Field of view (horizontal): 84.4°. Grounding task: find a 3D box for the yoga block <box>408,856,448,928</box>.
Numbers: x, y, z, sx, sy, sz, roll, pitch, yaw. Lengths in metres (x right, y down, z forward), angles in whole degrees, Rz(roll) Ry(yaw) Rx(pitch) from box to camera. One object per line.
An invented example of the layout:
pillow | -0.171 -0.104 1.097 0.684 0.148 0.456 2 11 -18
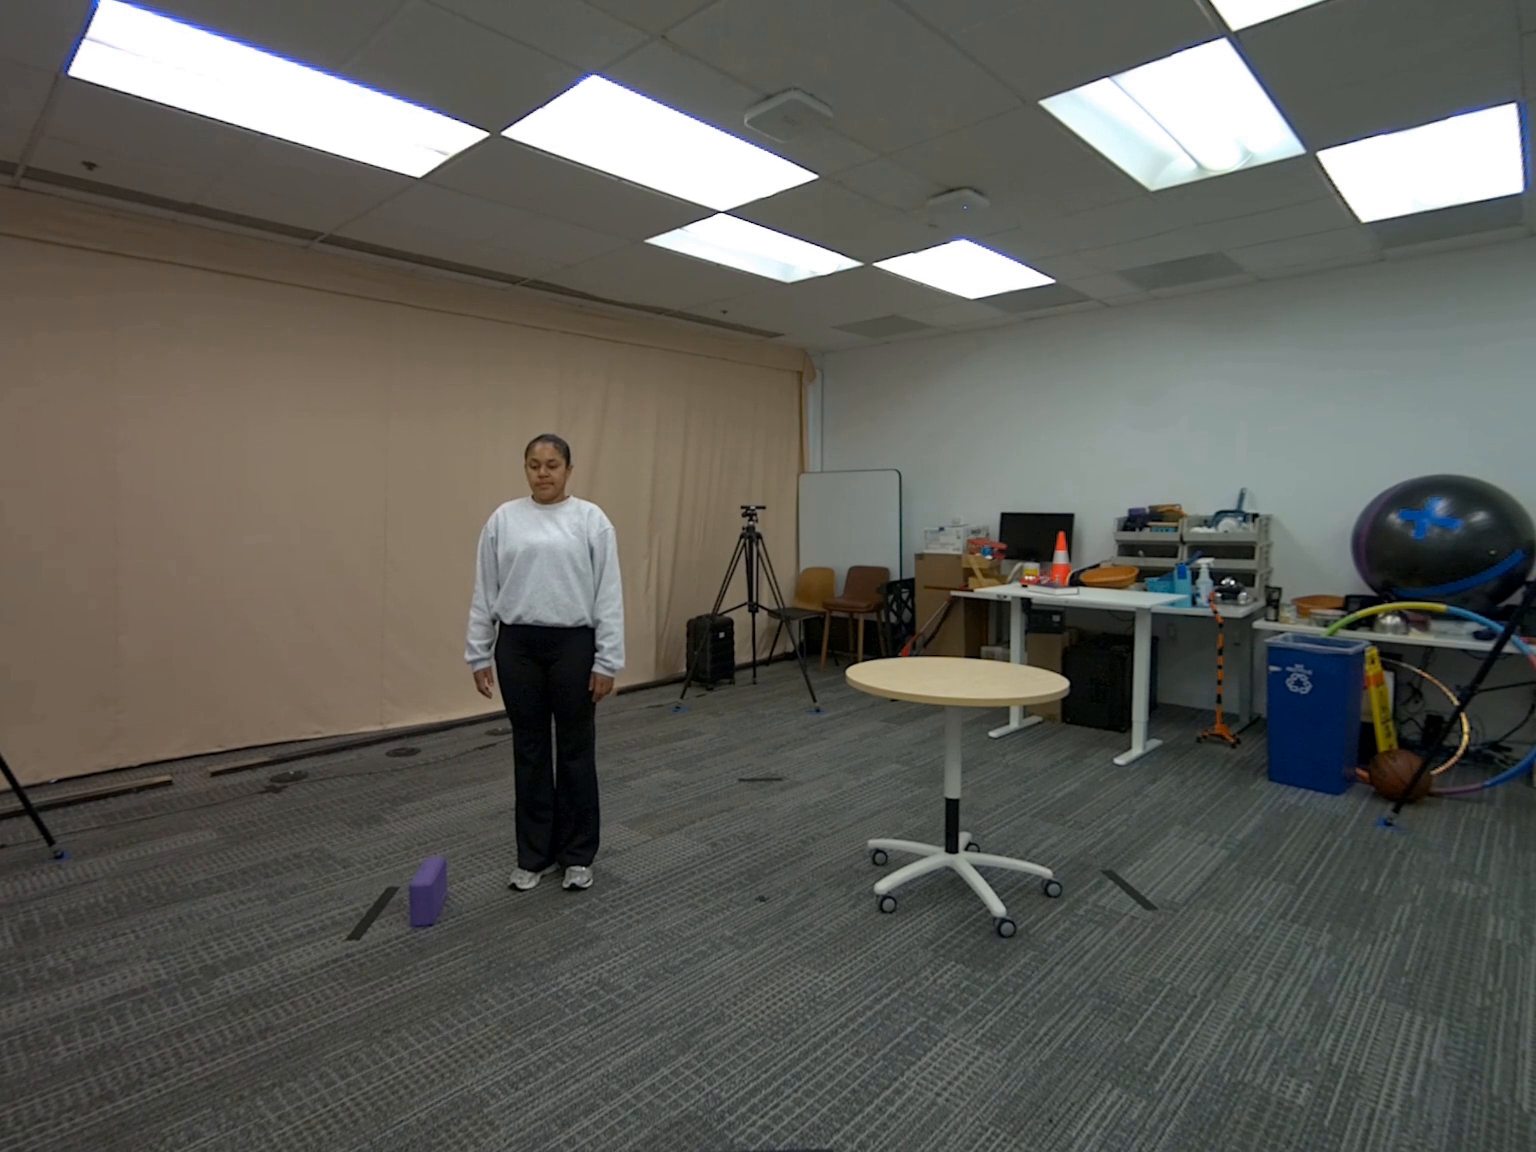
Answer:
yoga block | -1.177 1.091 2.904 0.076 0.148 0.232 -1 5 -9
